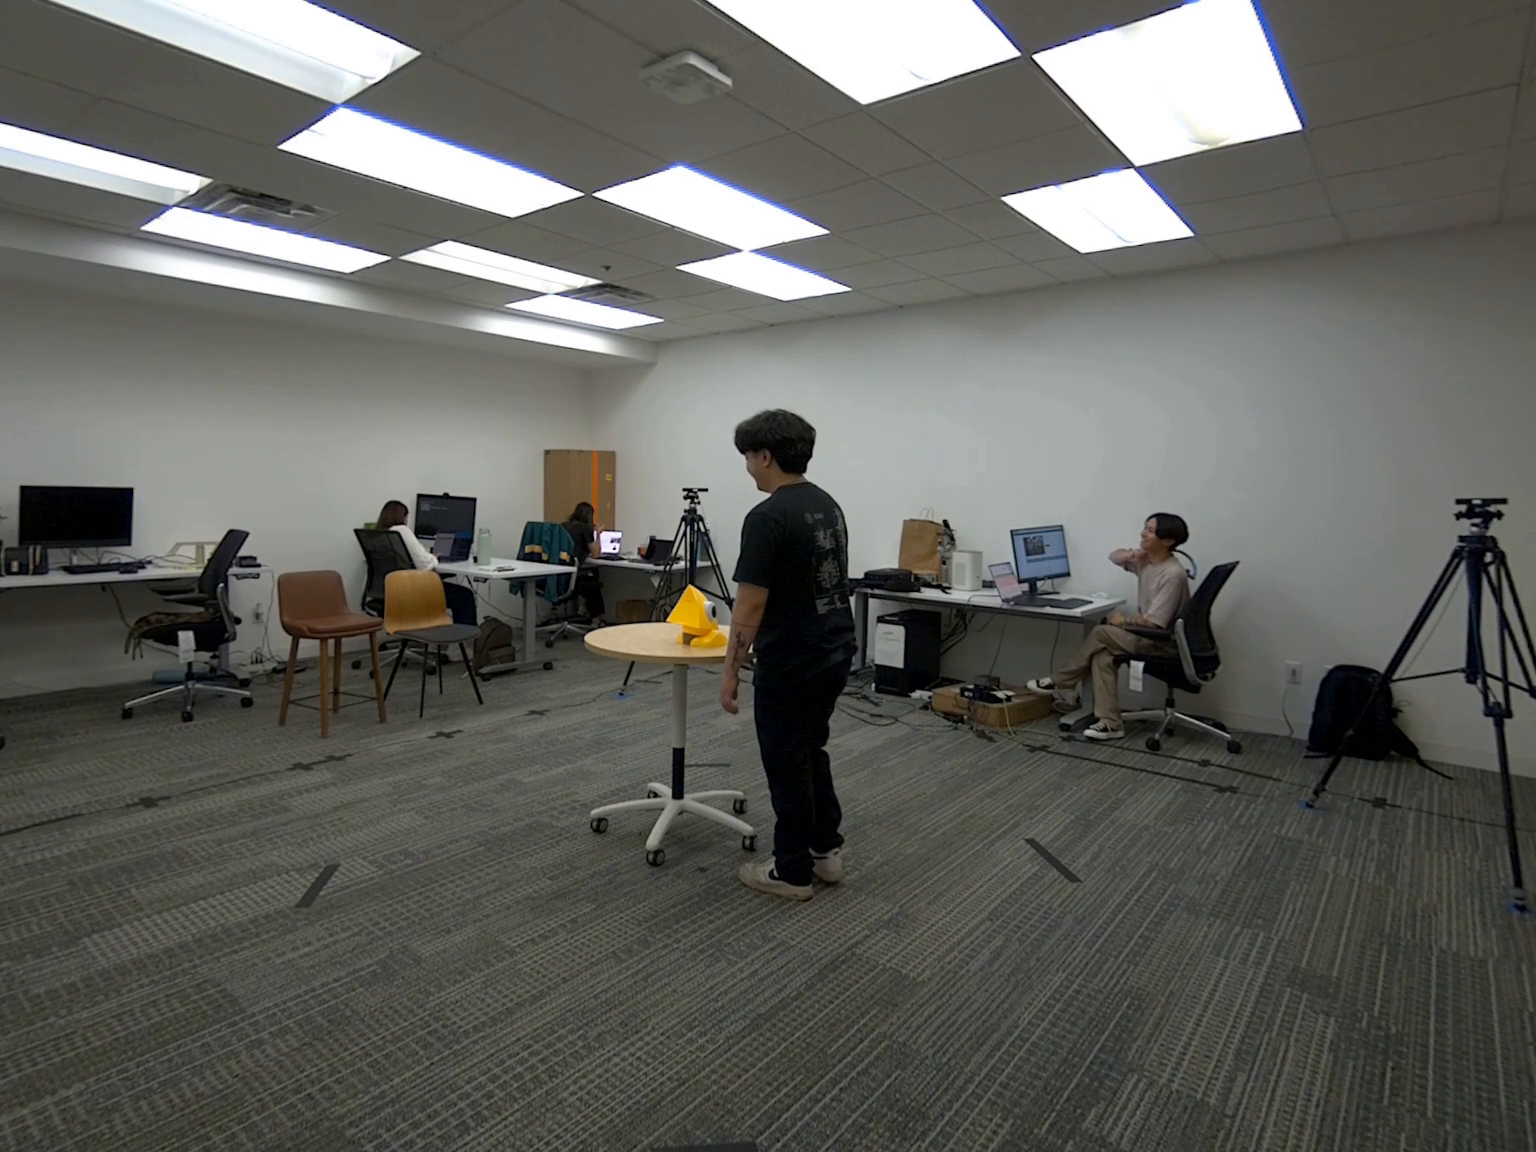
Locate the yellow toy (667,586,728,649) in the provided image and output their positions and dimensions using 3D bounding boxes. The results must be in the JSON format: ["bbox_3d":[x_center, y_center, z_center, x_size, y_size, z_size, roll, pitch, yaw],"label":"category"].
[{"bbox_3d":[-0.272,0.143,3.309,0.187,0.230,0.212,-2,5,-43],"label":"yellow toy"}]
